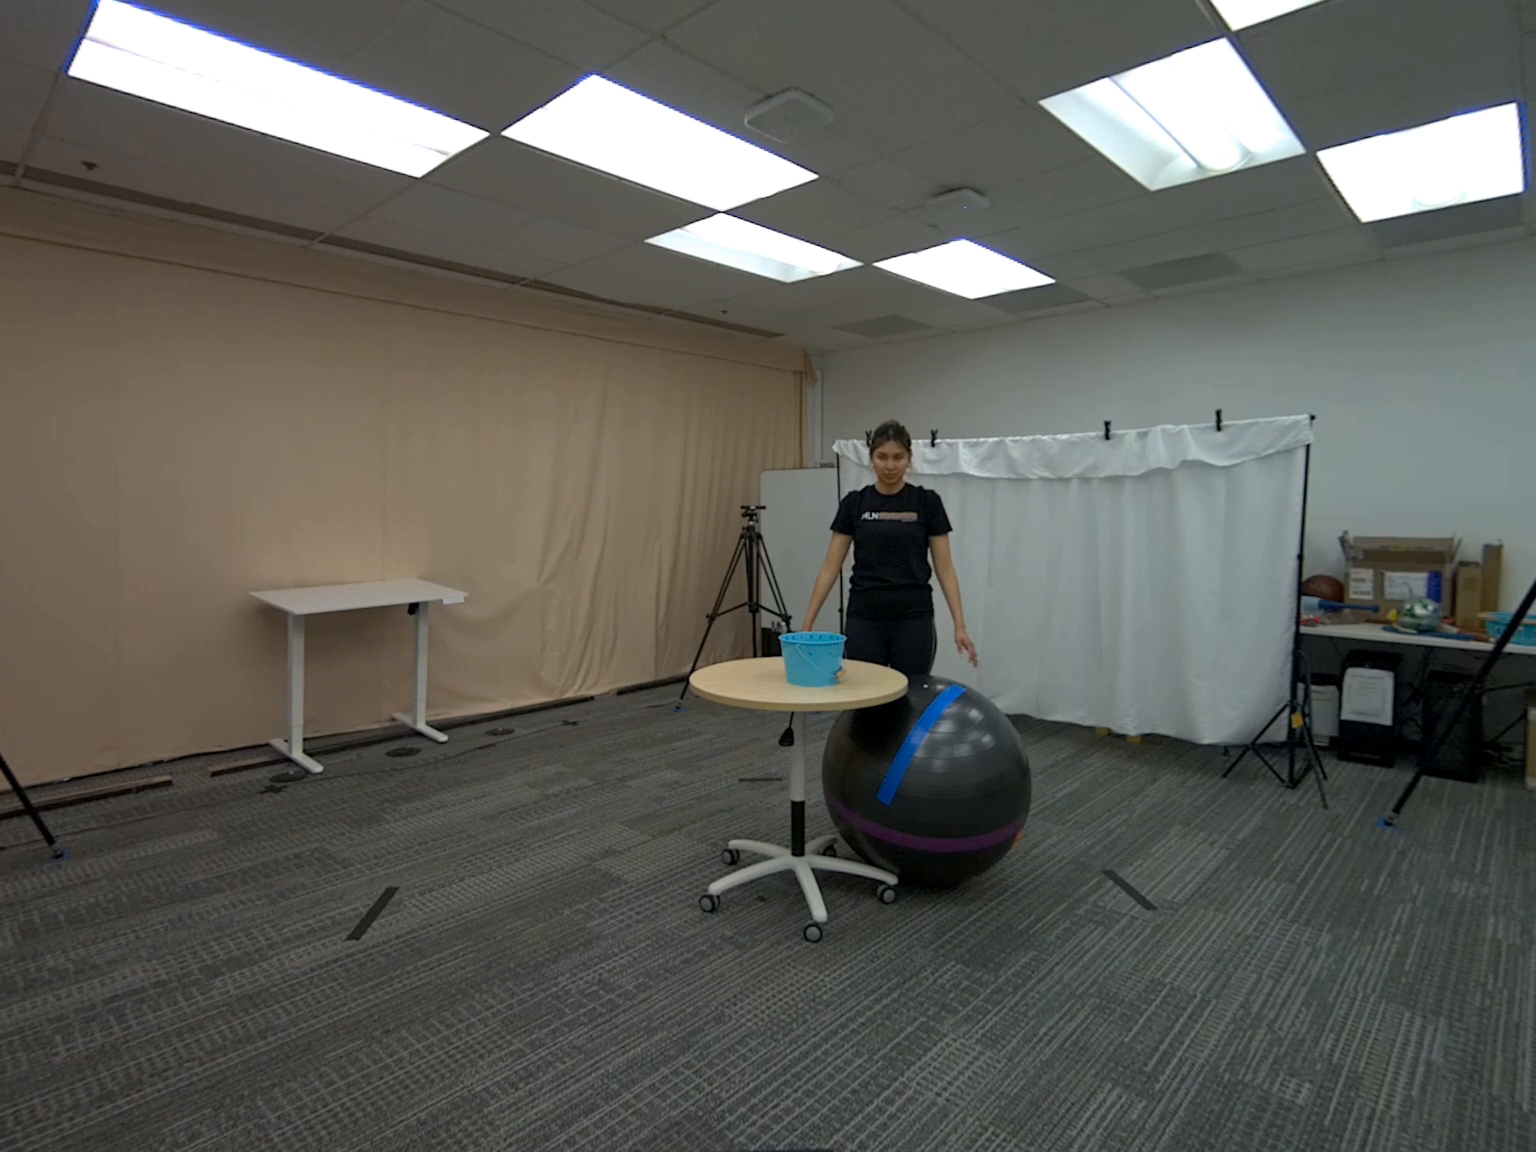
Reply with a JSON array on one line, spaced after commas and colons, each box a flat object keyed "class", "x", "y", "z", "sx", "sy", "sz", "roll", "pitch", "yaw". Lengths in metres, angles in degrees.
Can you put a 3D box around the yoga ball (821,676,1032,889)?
[{"class": "yoga ball", "x": 0.599, "y": 0.761, "z": 3.150, "sx": 0.757, "sy": 0.756, "sz": 0.761, "roll": 0, "pitch": 4, "yaw": -2}]
